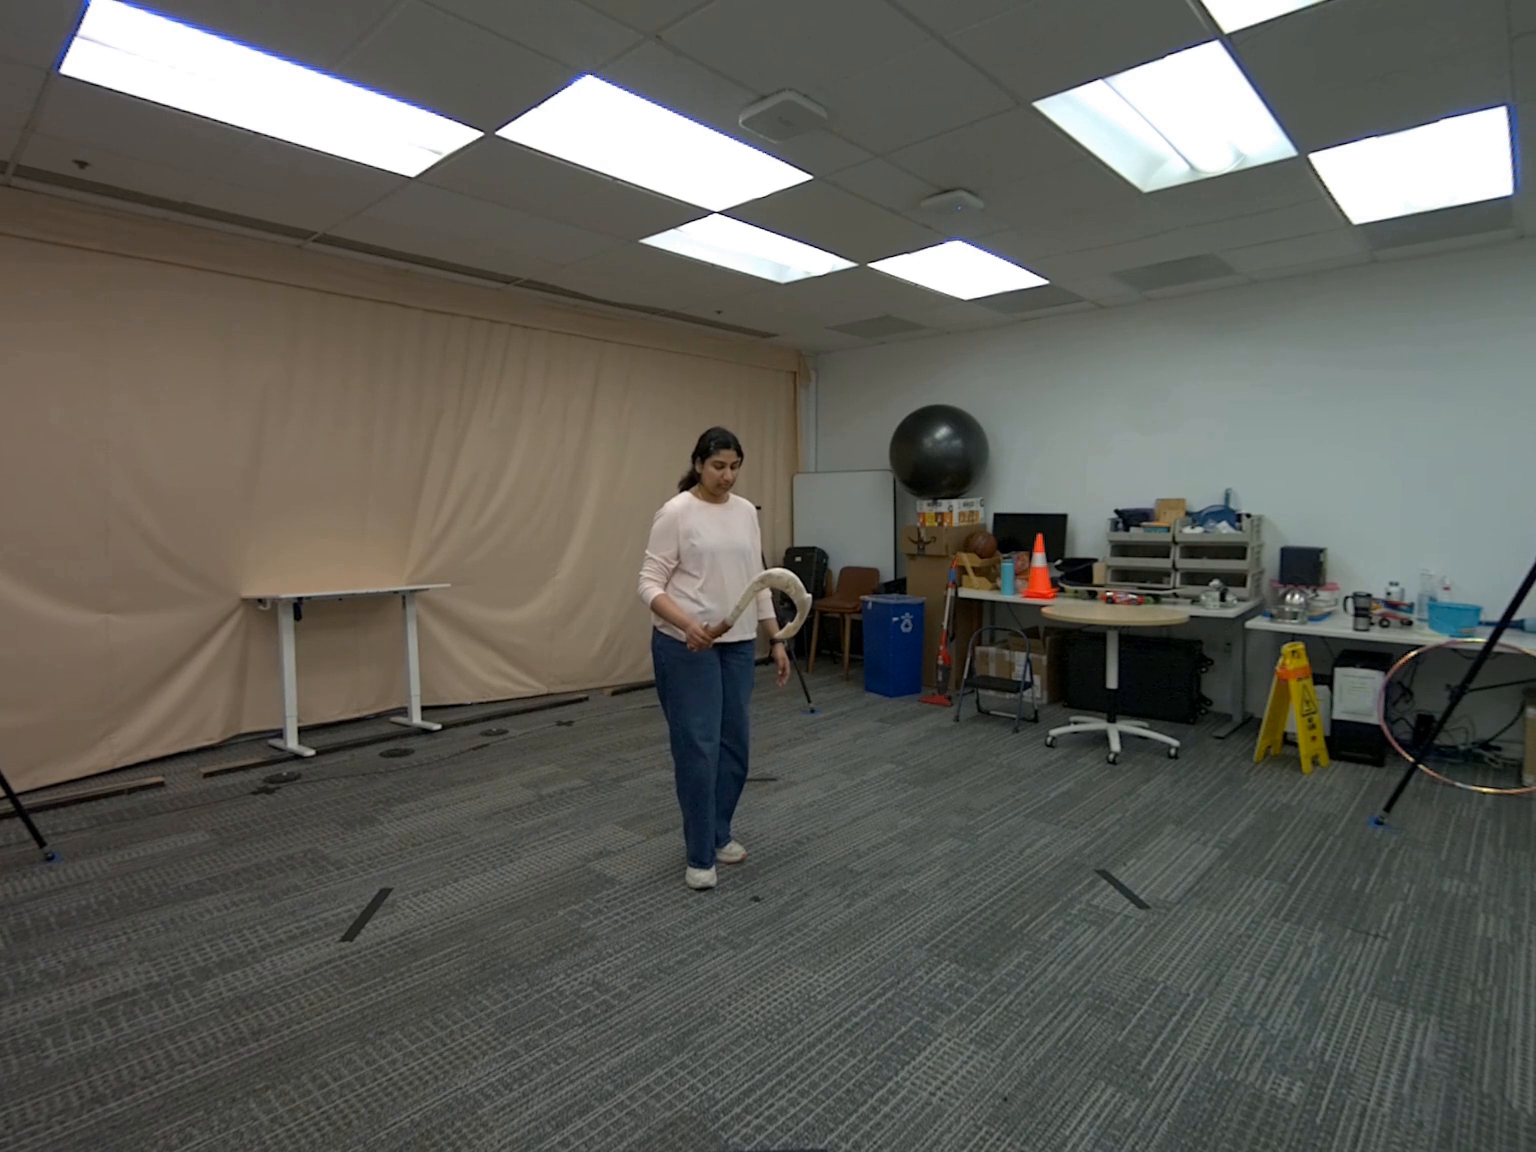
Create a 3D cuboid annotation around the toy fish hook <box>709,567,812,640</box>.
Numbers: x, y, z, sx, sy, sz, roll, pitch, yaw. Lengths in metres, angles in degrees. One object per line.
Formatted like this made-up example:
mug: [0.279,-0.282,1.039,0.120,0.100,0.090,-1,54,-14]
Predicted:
toy fish hook: [-0.066,0.167,2.809,0.513,0.227,0.047,-38,-9,31]
